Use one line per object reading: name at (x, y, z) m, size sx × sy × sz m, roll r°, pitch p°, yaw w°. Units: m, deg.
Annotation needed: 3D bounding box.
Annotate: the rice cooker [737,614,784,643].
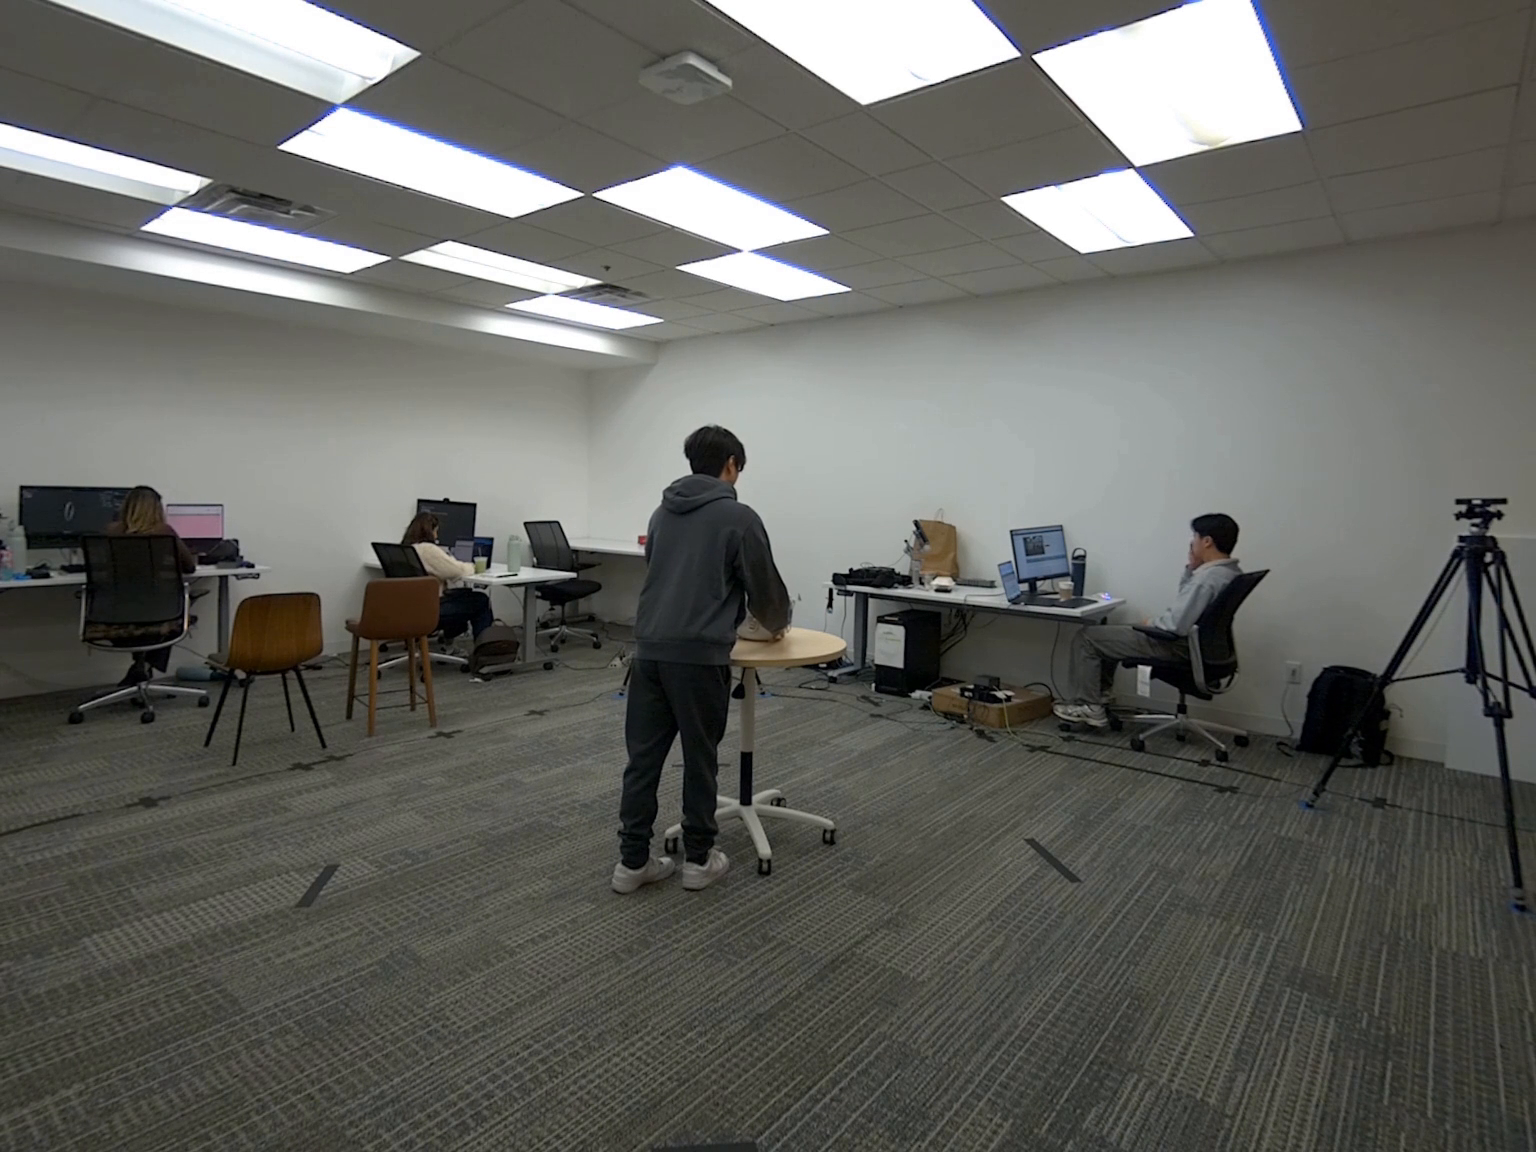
rice cooker at (-0.032, 0.131, 3.405) m, size 0.225 × 0.232 × 0.213 m, roll 2°, pitch 4°, yaw 20°
